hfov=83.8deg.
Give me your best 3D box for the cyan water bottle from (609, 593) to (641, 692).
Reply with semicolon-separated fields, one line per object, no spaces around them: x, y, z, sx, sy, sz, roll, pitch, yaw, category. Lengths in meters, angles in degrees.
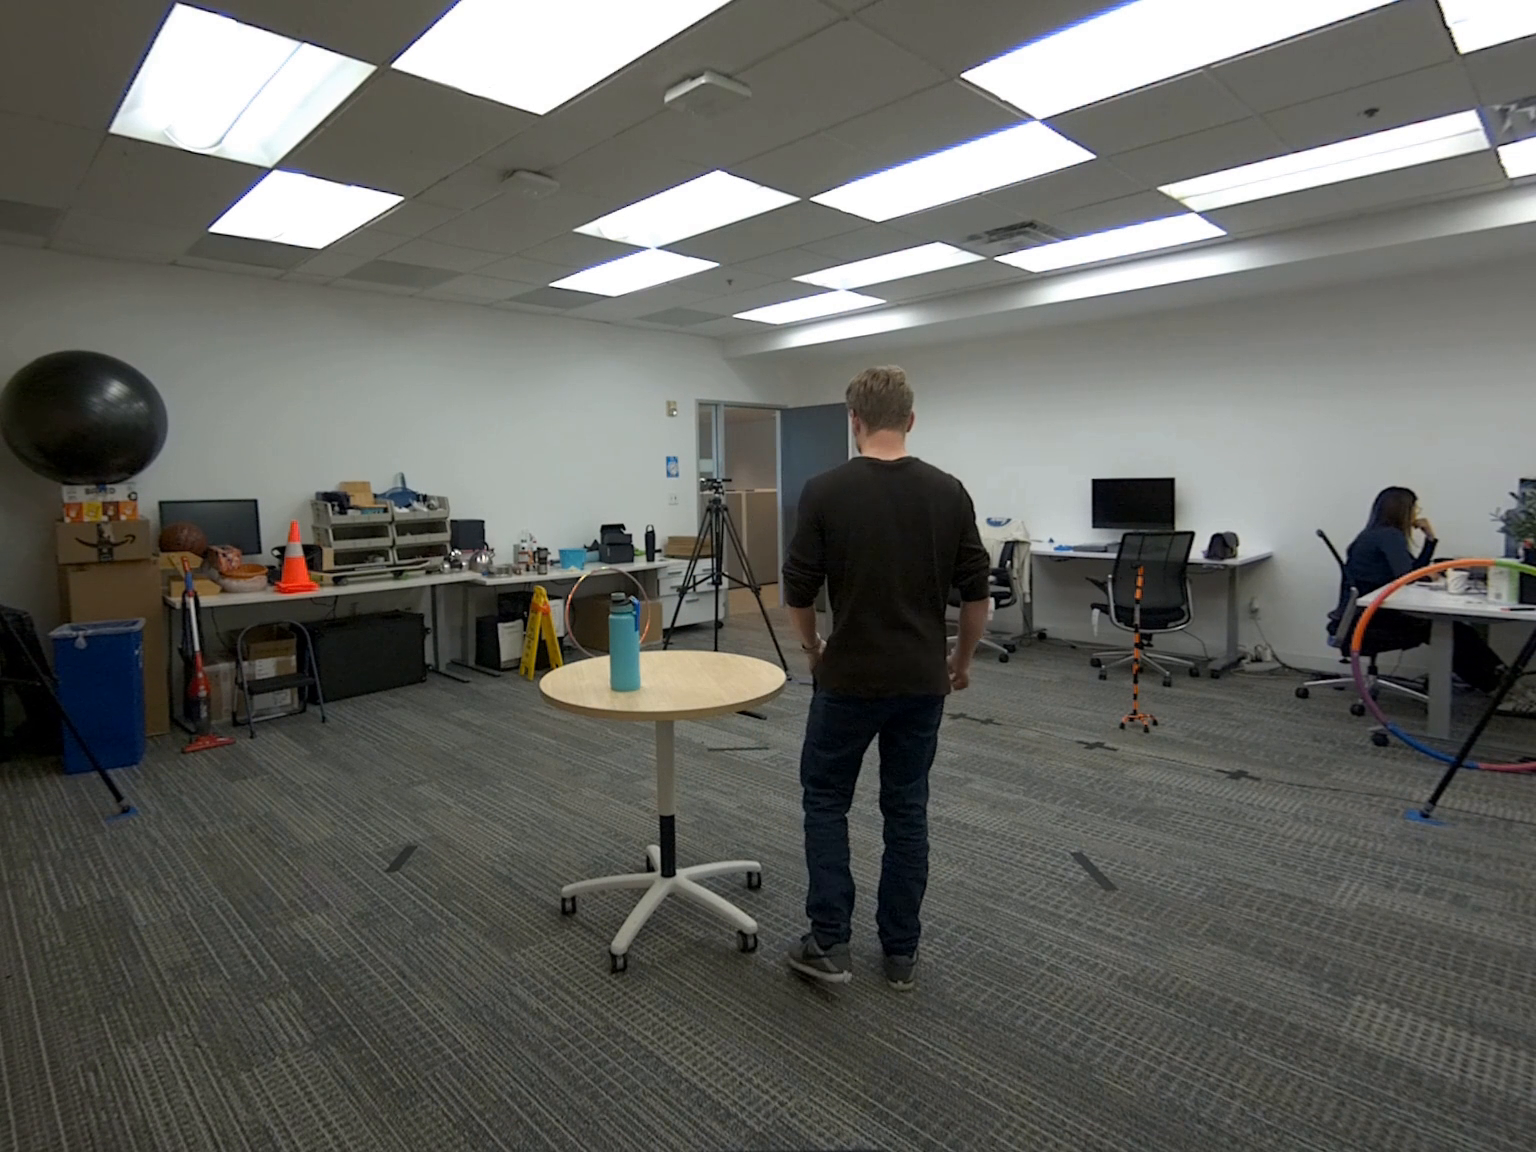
-0.427;0.193;2.542;0.092;0.282;0.093;1;3;-2;cyan water bottle
